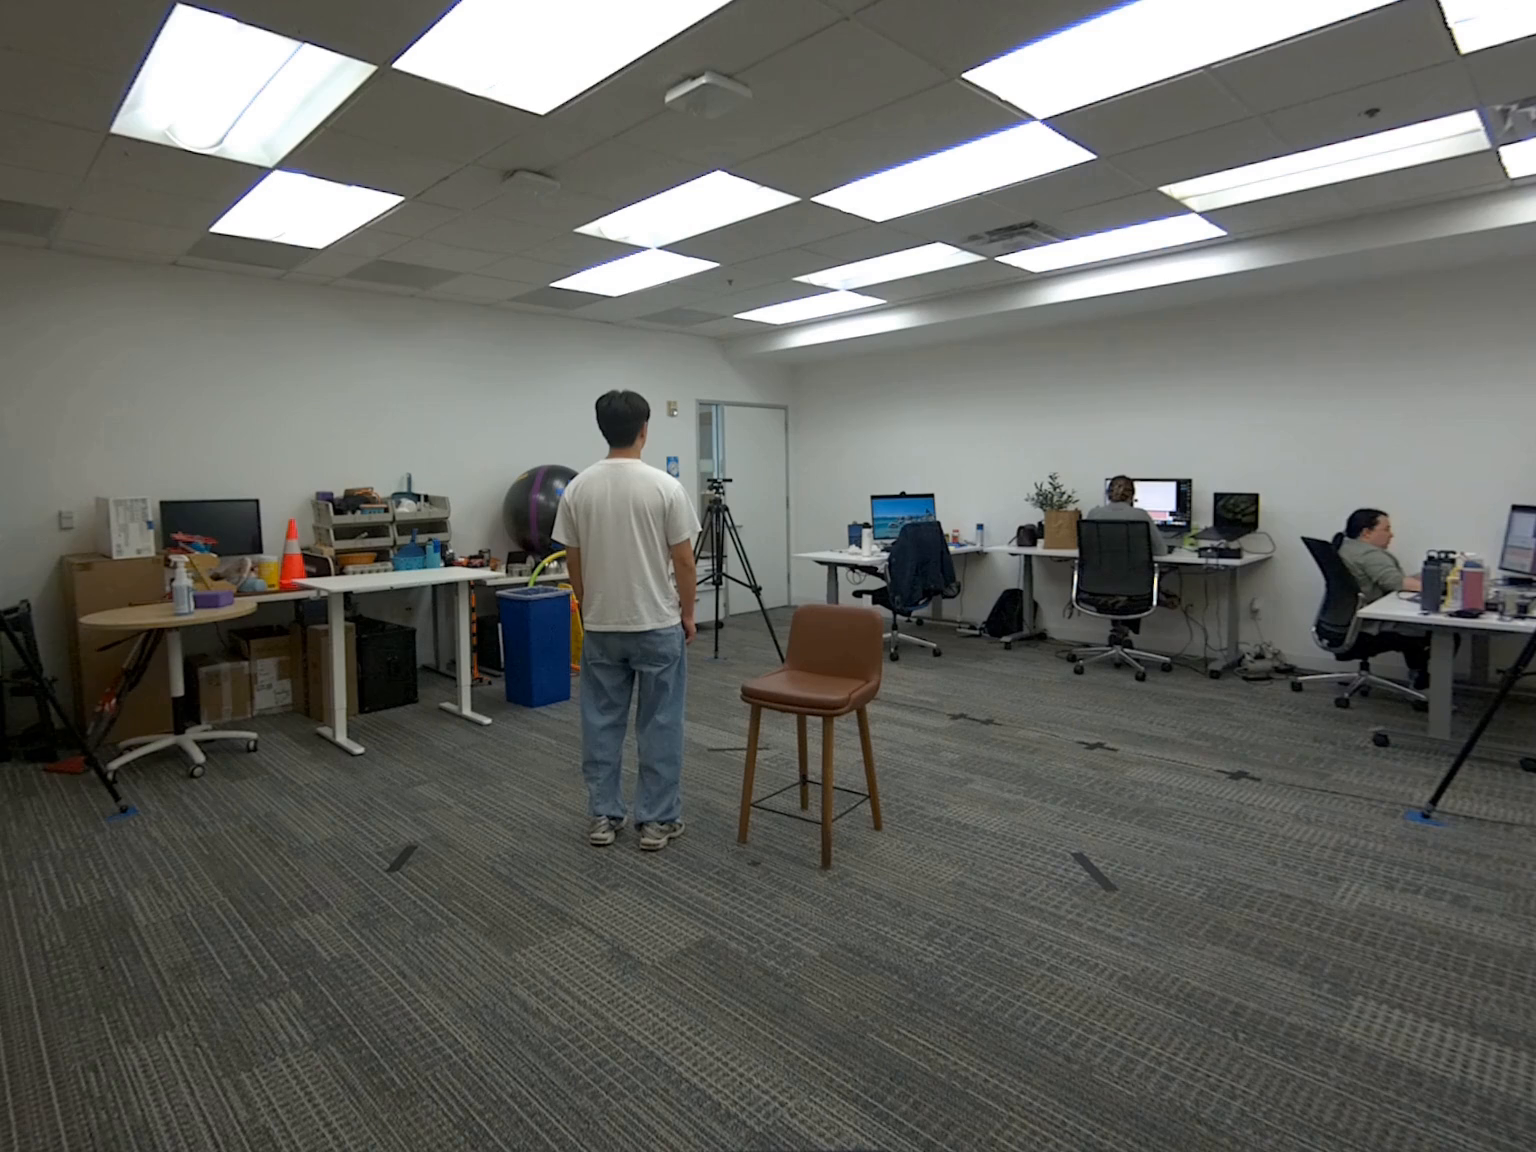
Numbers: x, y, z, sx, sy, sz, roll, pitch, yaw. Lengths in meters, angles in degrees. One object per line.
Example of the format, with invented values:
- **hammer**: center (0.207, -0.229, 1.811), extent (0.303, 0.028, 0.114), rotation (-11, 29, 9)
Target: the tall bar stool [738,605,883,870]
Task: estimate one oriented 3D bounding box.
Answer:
- **tall bar stool**: center (0.176, 0.579, 3.312), extent (0.470, 0.888, 0.455), rotation (3, 3, 37)
